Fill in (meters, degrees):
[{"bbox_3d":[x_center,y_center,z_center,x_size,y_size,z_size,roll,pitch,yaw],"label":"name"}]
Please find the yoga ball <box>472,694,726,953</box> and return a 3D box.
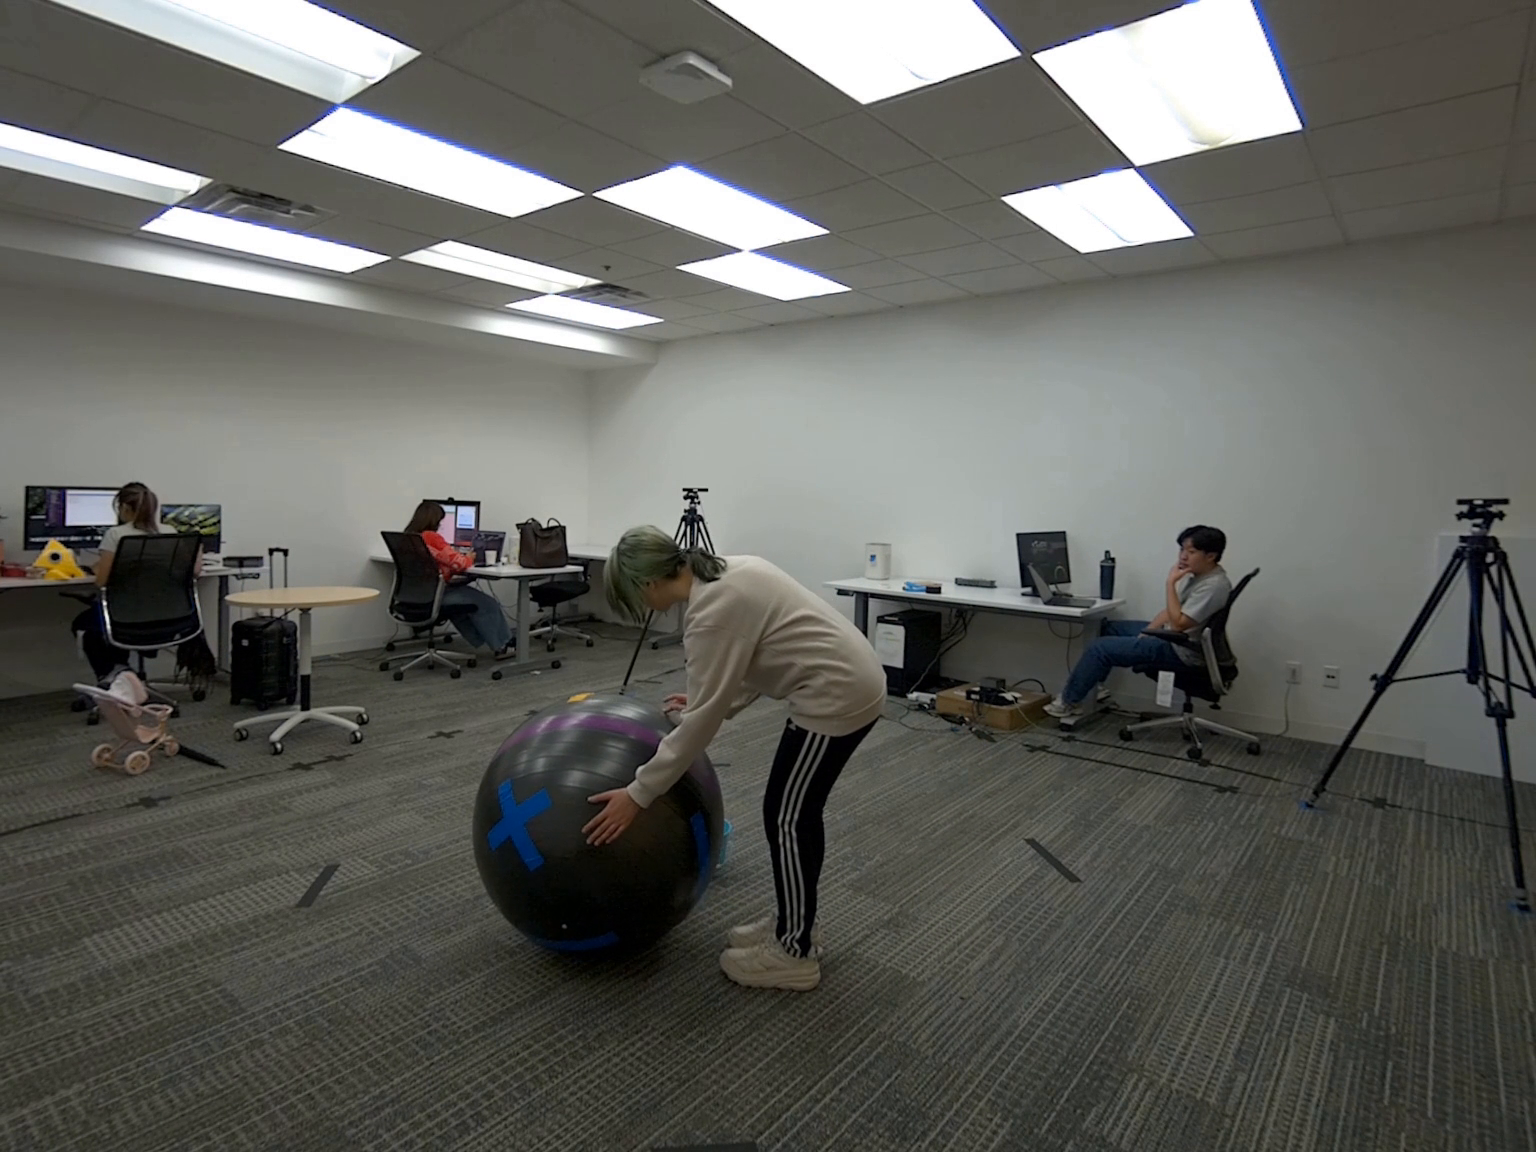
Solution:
[{"bbox_3d":[-0.526,0.746,2.597,0.757,0.755,0.762,1,4,-2],"label":"yoga ball"}]
